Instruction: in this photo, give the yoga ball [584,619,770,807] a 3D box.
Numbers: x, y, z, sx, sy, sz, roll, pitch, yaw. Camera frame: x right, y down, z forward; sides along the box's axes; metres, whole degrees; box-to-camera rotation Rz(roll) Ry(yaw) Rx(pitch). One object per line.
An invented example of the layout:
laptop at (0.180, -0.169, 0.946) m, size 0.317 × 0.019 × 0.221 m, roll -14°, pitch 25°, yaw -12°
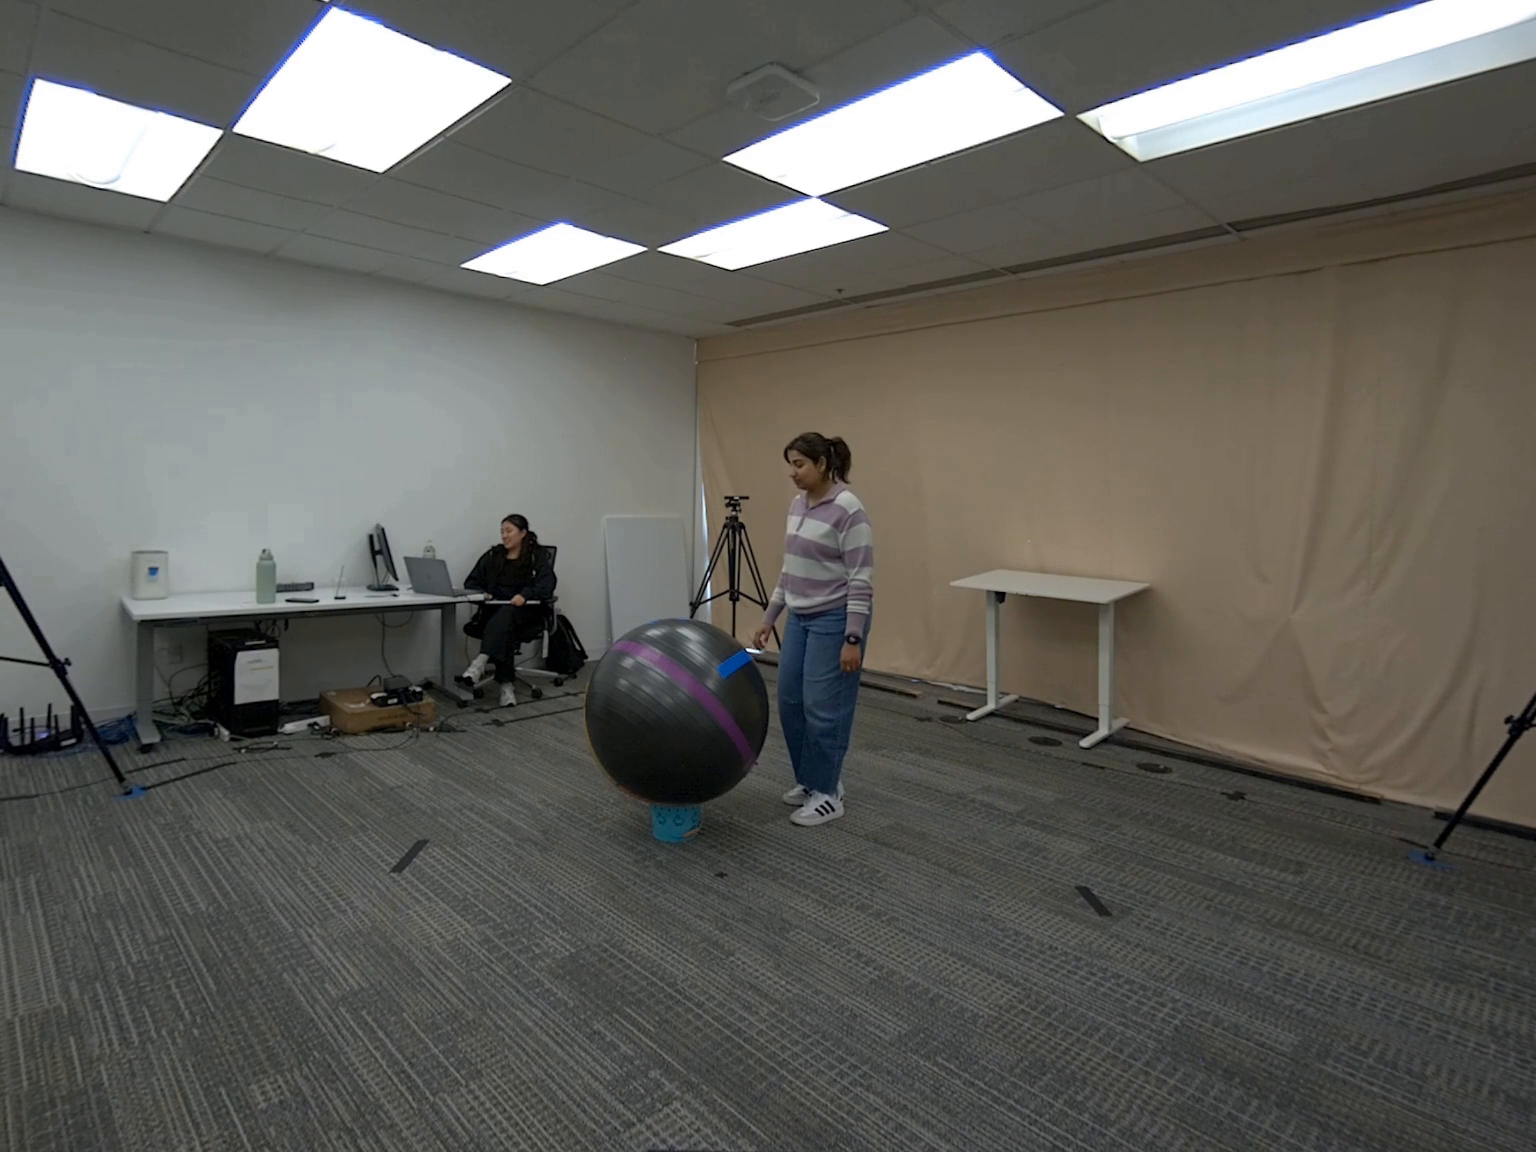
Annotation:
yoga ball at (-0.381, 0.557, 3.469) m, size 0.757 × 0.756 × 0.761 m, roll 1°, pitch 4°, yaw -1°
